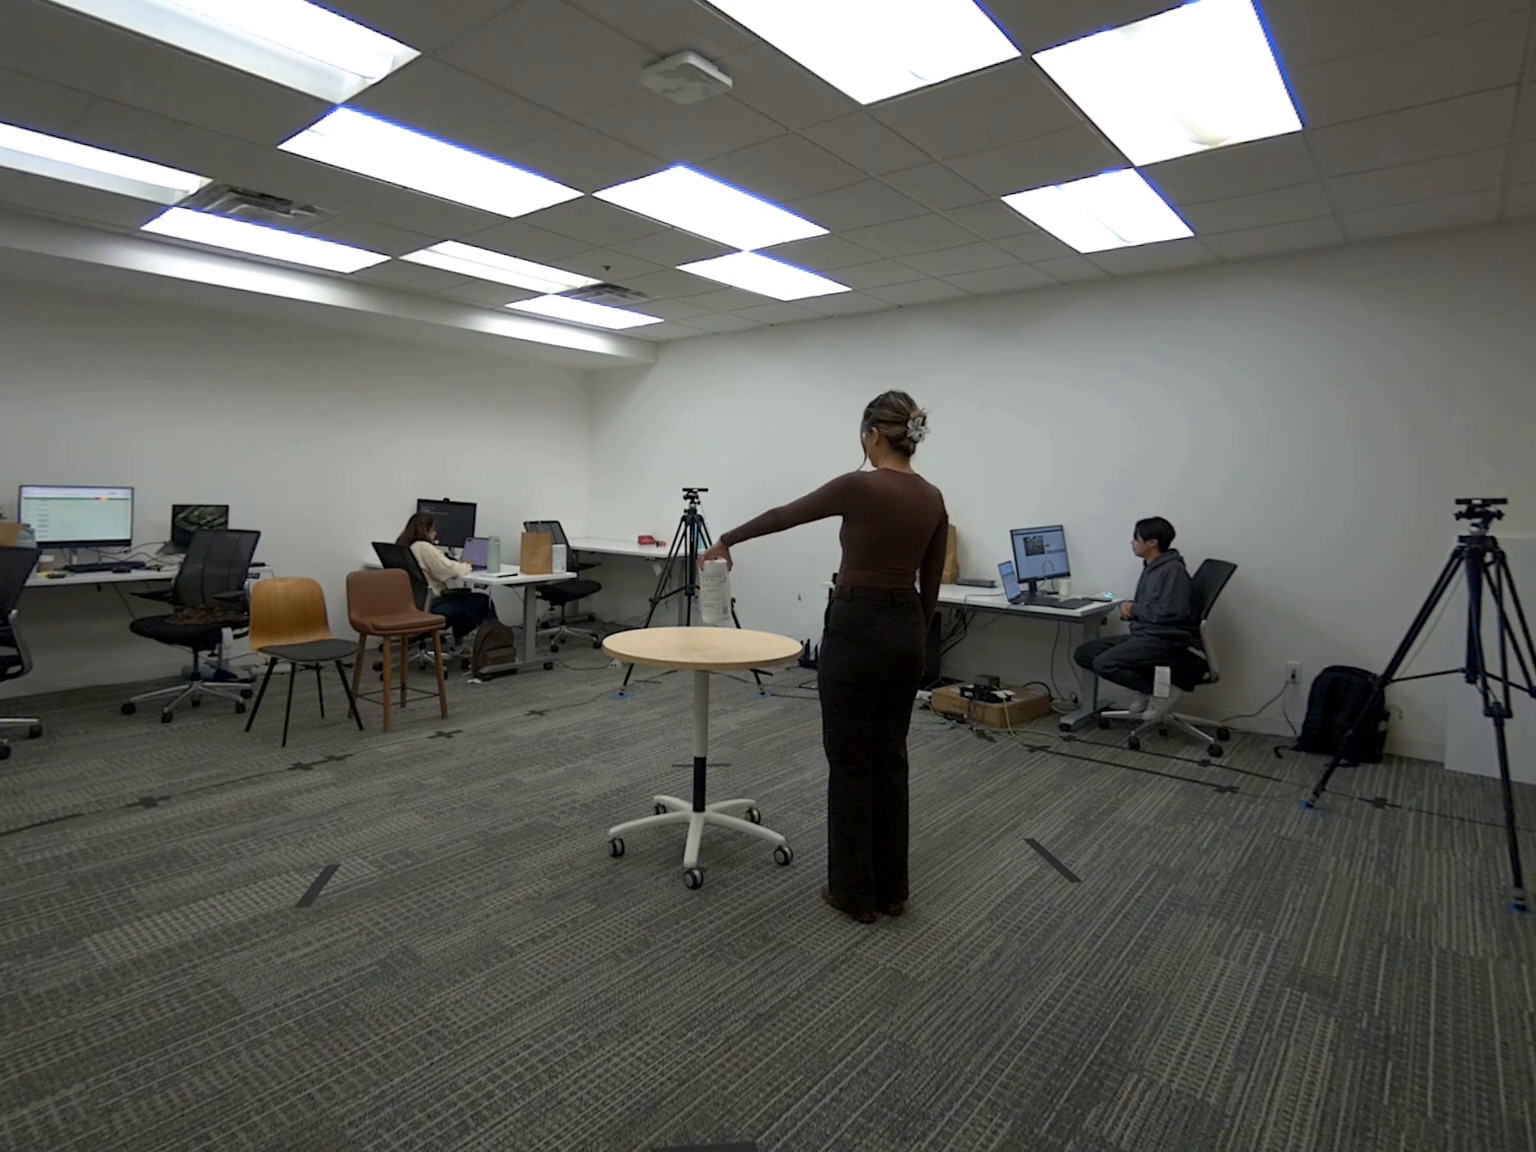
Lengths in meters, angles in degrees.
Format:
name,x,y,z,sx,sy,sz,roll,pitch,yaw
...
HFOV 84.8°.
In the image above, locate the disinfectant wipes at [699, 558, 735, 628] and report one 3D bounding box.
name,x,y,z,sx,sy,sz,roll,pitch,yaw
disinfectant wipes,-0.201,0.052,3.086,0.118,0.216,0.119,-2,8,-2
